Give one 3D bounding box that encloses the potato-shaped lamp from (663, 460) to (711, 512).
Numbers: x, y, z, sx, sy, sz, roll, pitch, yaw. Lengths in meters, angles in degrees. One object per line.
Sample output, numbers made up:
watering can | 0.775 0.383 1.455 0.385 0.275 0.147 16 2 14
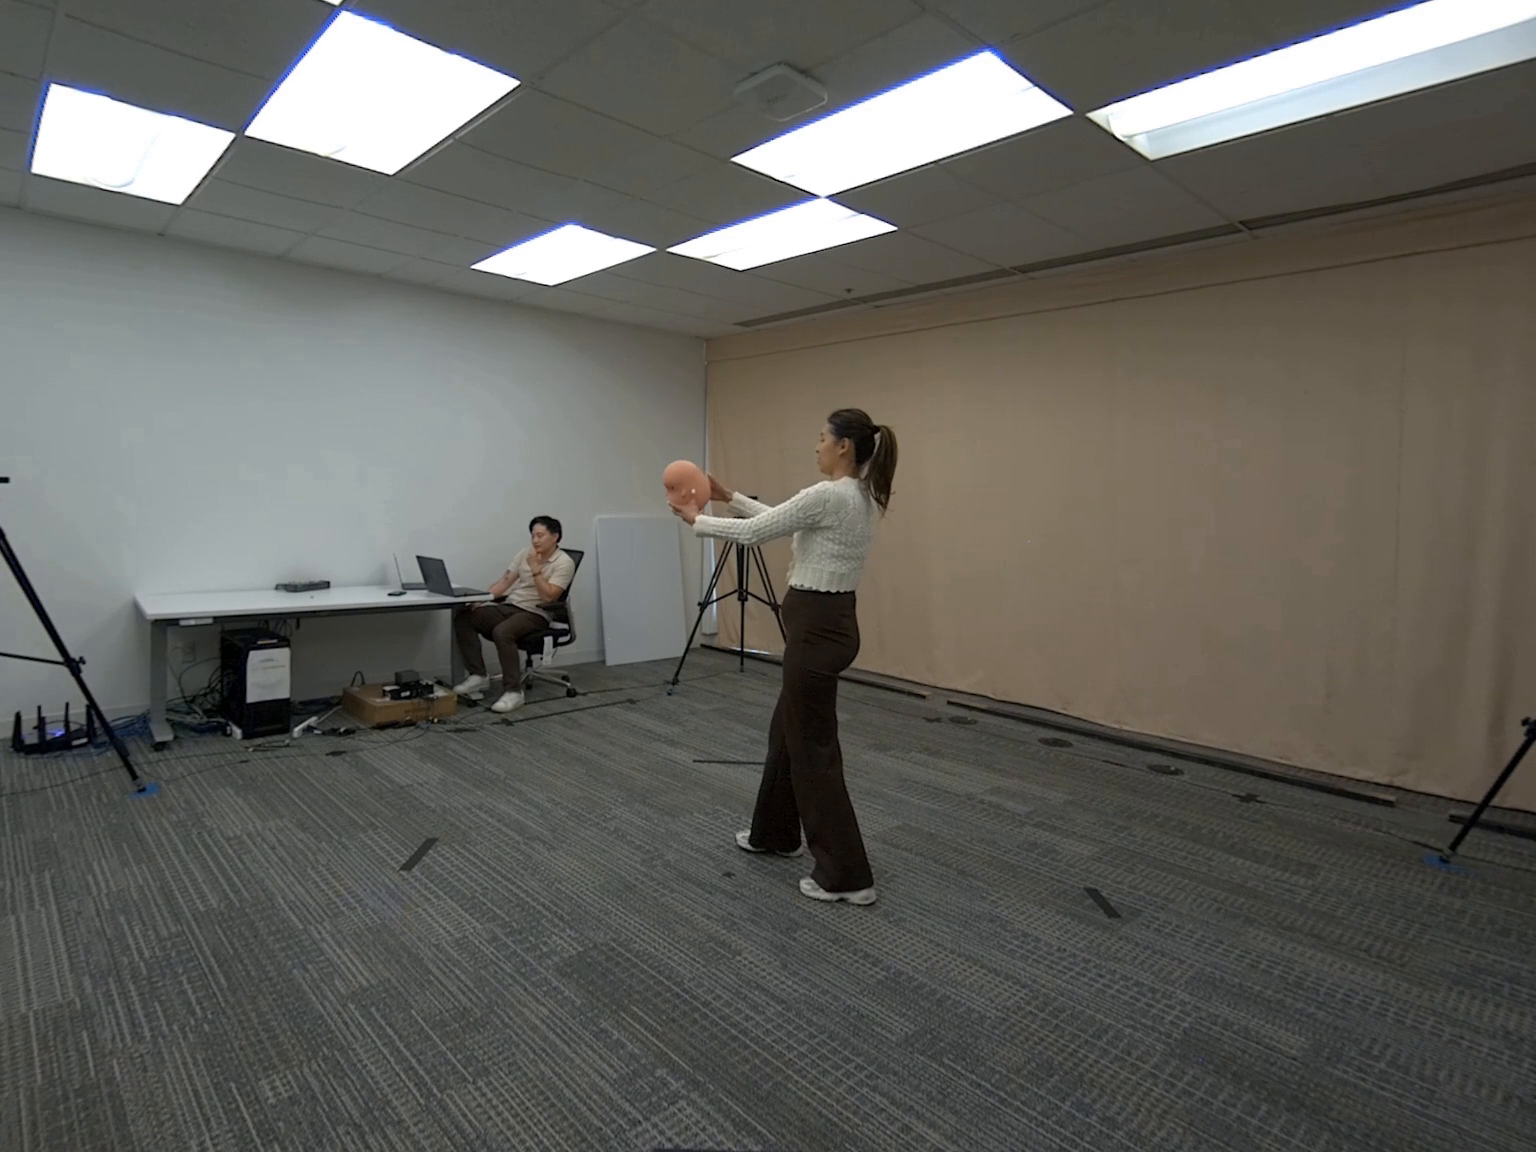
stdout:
potato-shaped lamp | -0.319 -0.340 3.192 0.171 0.193 0.169 -47 32 -23
